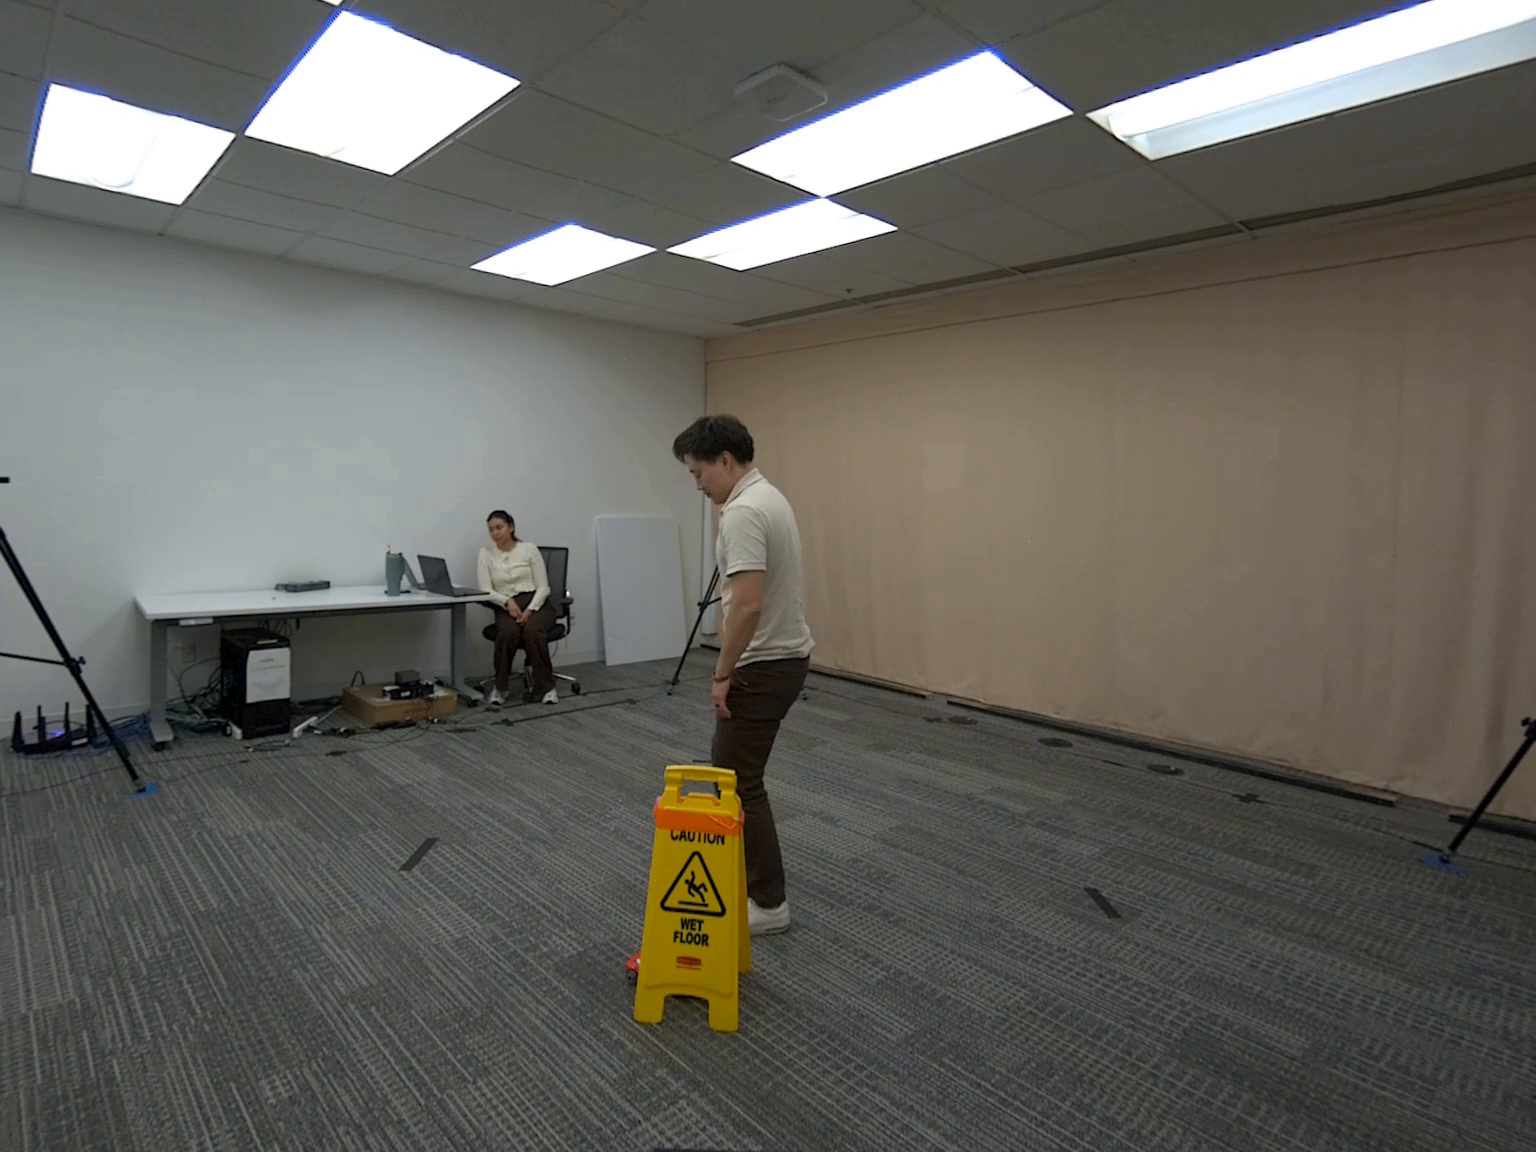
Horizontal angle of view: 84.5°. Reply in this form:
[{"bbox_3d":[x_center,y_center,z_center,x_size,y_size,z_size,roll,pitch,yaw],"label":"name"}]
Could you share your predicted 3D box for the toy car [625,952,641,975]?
[{"bbox_3d":[-0.285,1.148,2.384,0.258,0.083,0.128,-10,0,26],"label":"toy car"}]
